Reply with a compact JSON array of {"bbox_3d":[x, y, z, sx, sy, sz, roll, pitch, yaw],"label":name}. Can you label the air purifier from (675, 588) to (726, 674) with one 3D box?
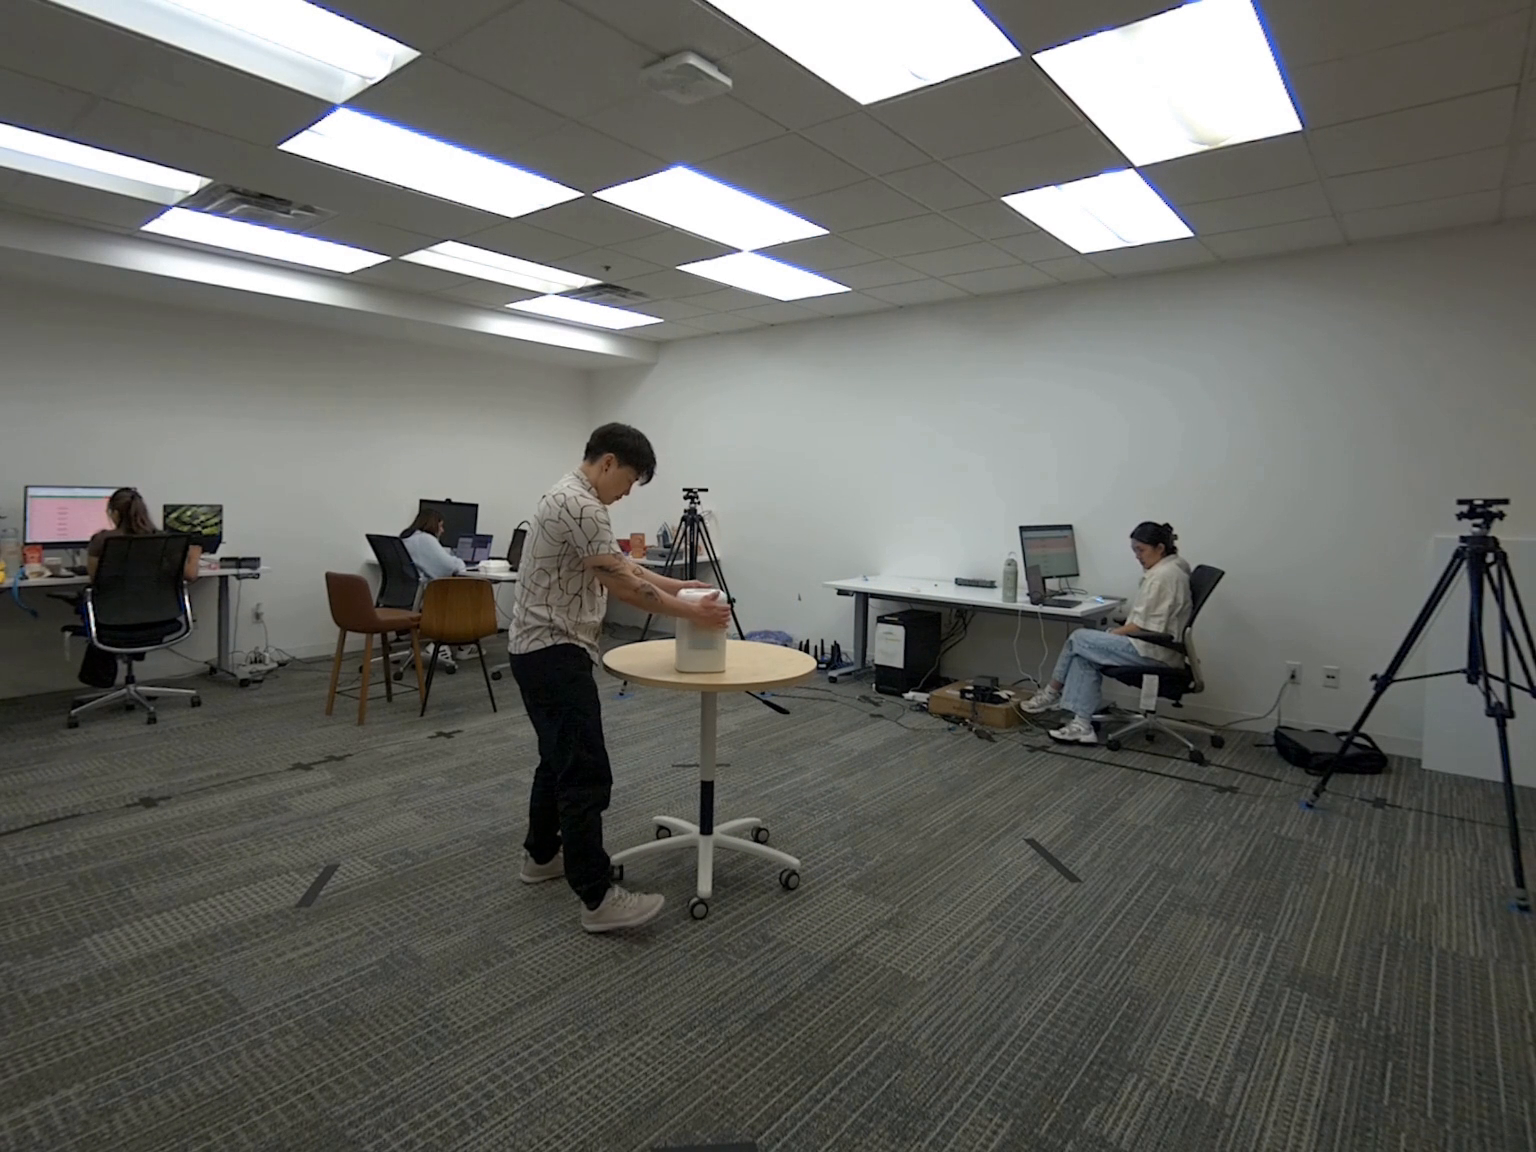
[{"bbox_3d":[-0.239,0.182,2.889,0.171,0.264,0.172,2,5,-4],"label":"air purifier"}]
